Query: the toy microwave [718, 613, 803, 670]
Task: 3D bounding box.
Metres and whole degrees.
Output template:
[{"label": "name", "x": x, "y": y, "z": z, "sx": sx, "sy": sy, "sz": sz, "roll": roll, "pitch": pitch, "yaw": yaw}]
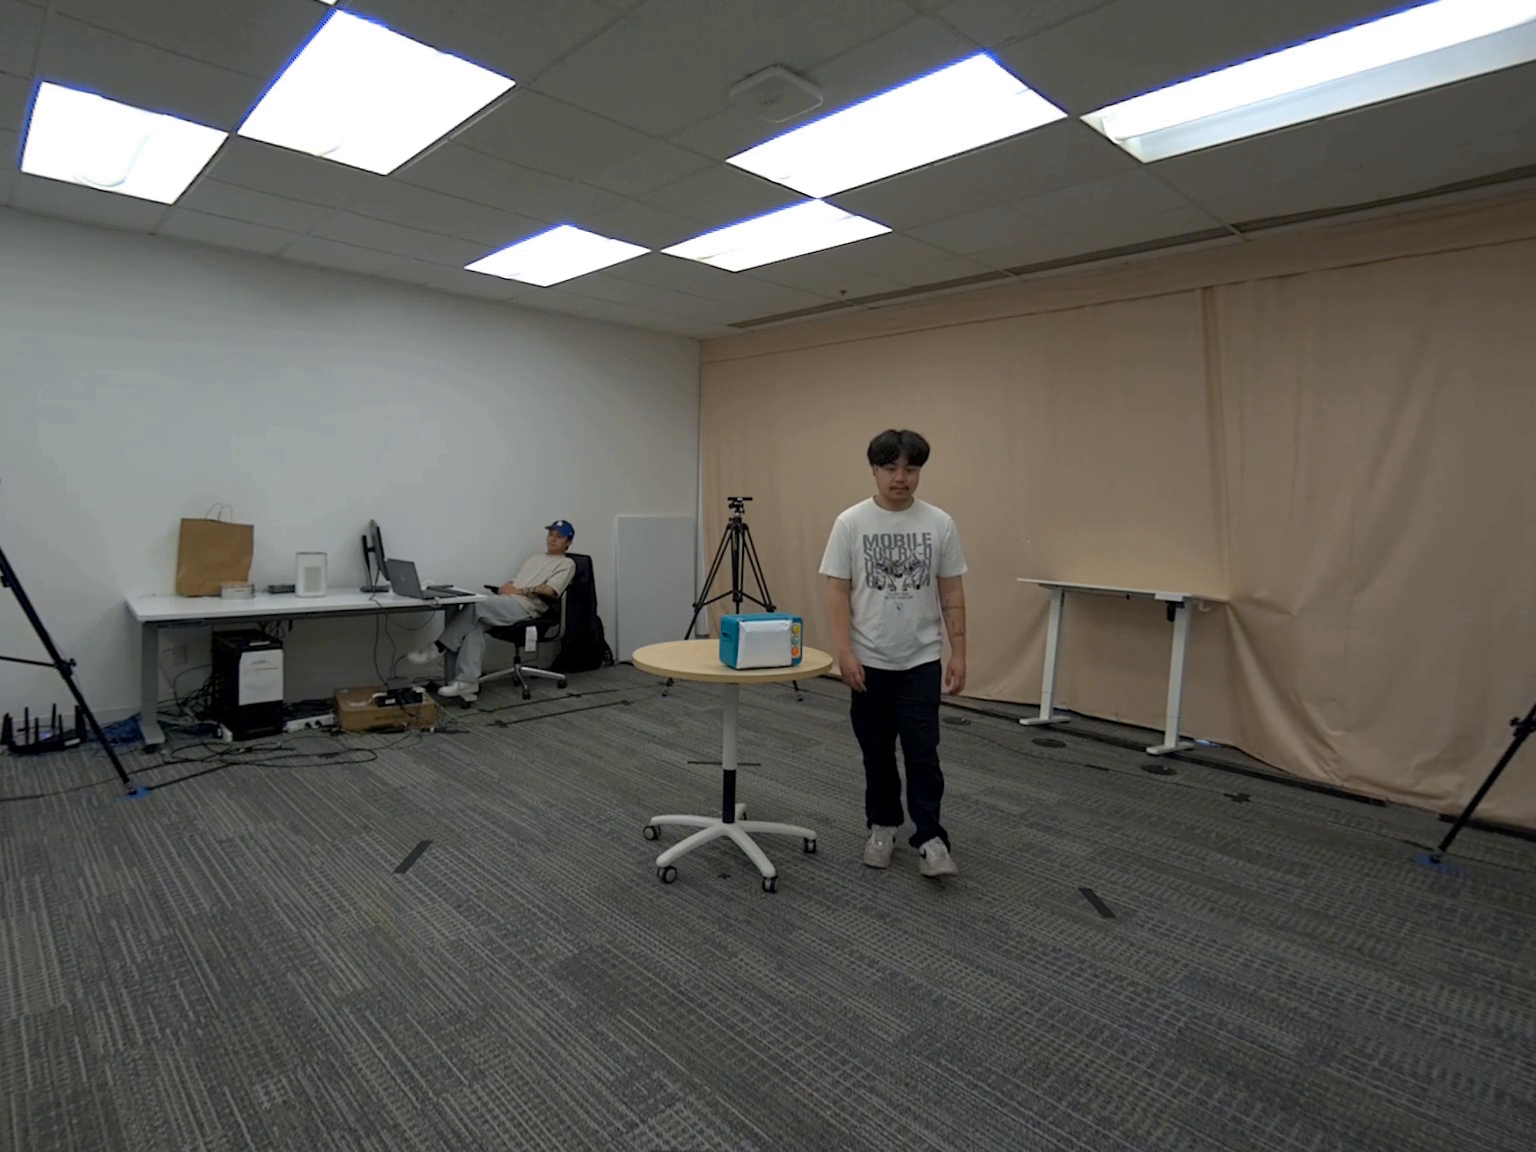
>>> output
[{"label": "toy microwave", "x": -0.024, "y": 0.234, "z": 3.011, "sx": 0.281, "sy": 0.183, "sz": 0.155, "roll": -1, "pitch": 4, "yaw": -27}]
